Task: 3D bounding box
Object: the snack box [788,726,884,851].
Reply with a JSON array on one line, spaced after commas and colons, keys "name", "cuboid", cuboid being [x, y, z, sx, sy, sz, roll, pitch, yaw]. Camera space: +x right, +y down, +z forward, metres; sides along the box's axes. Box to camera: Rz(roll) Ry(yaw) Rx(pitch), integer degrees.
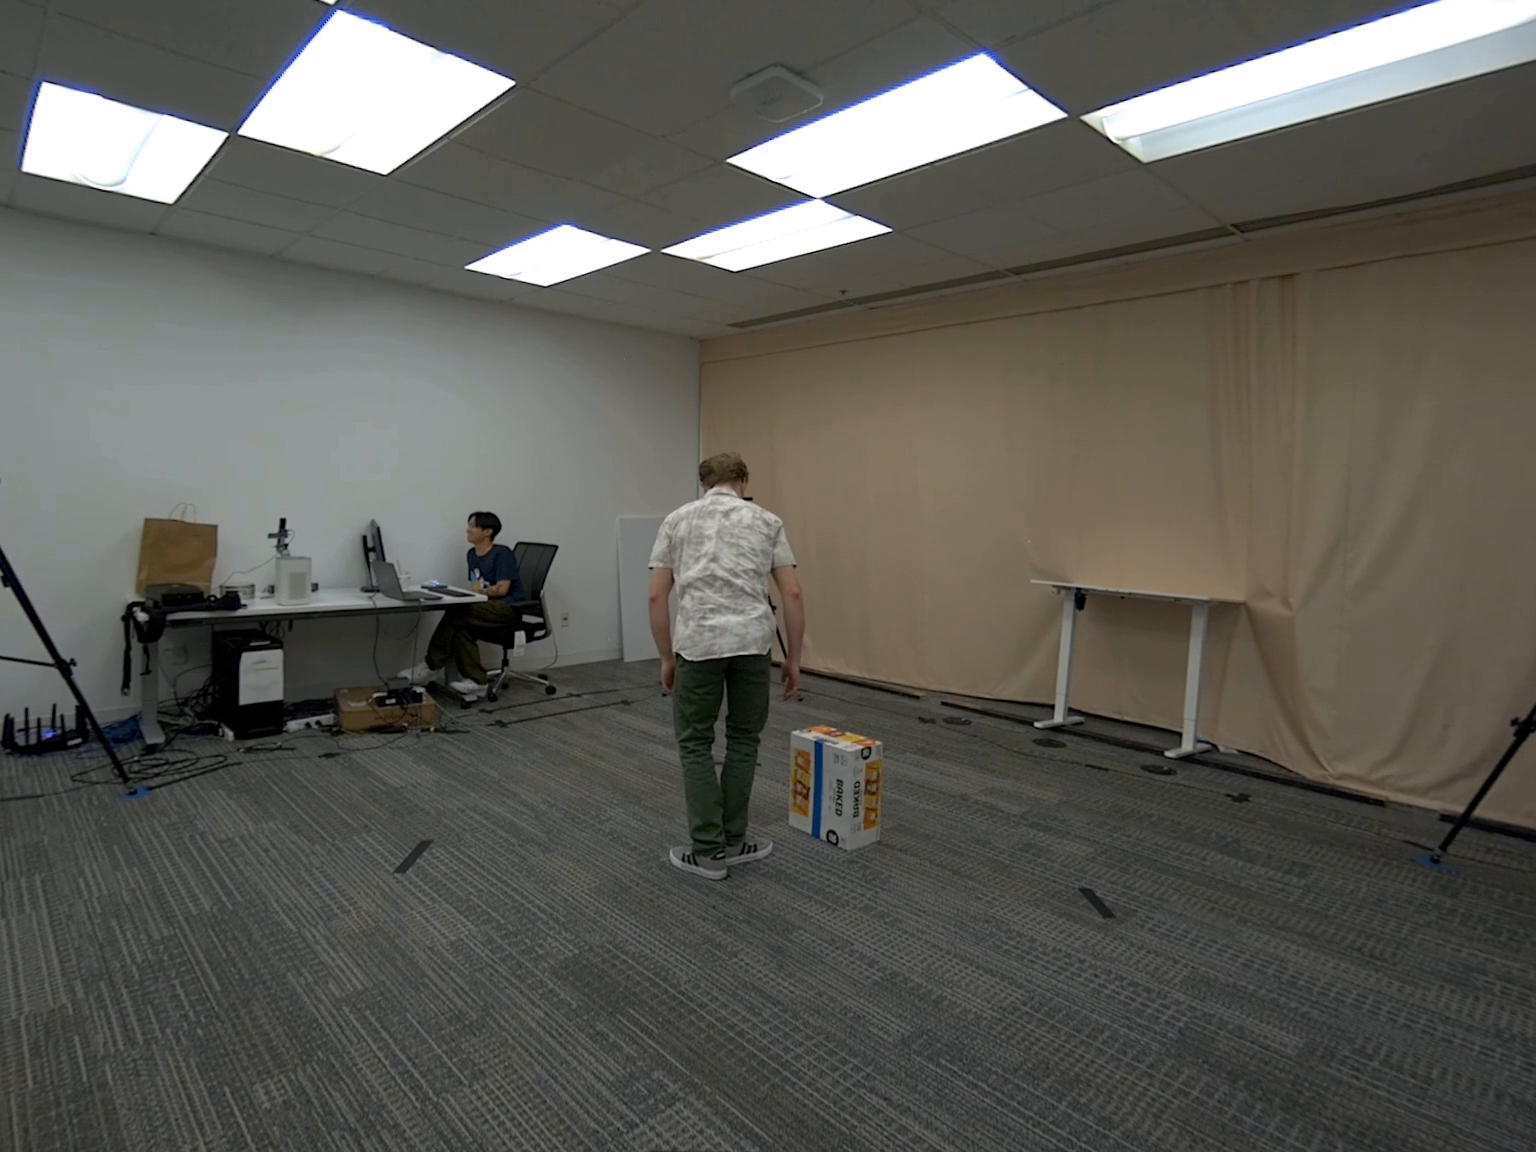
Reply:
[{"name": "snack box", "cuboid": [0.276, 0.878, 3.538, 0.201, 0.404, 0.349, -1, 4, -41]}]
